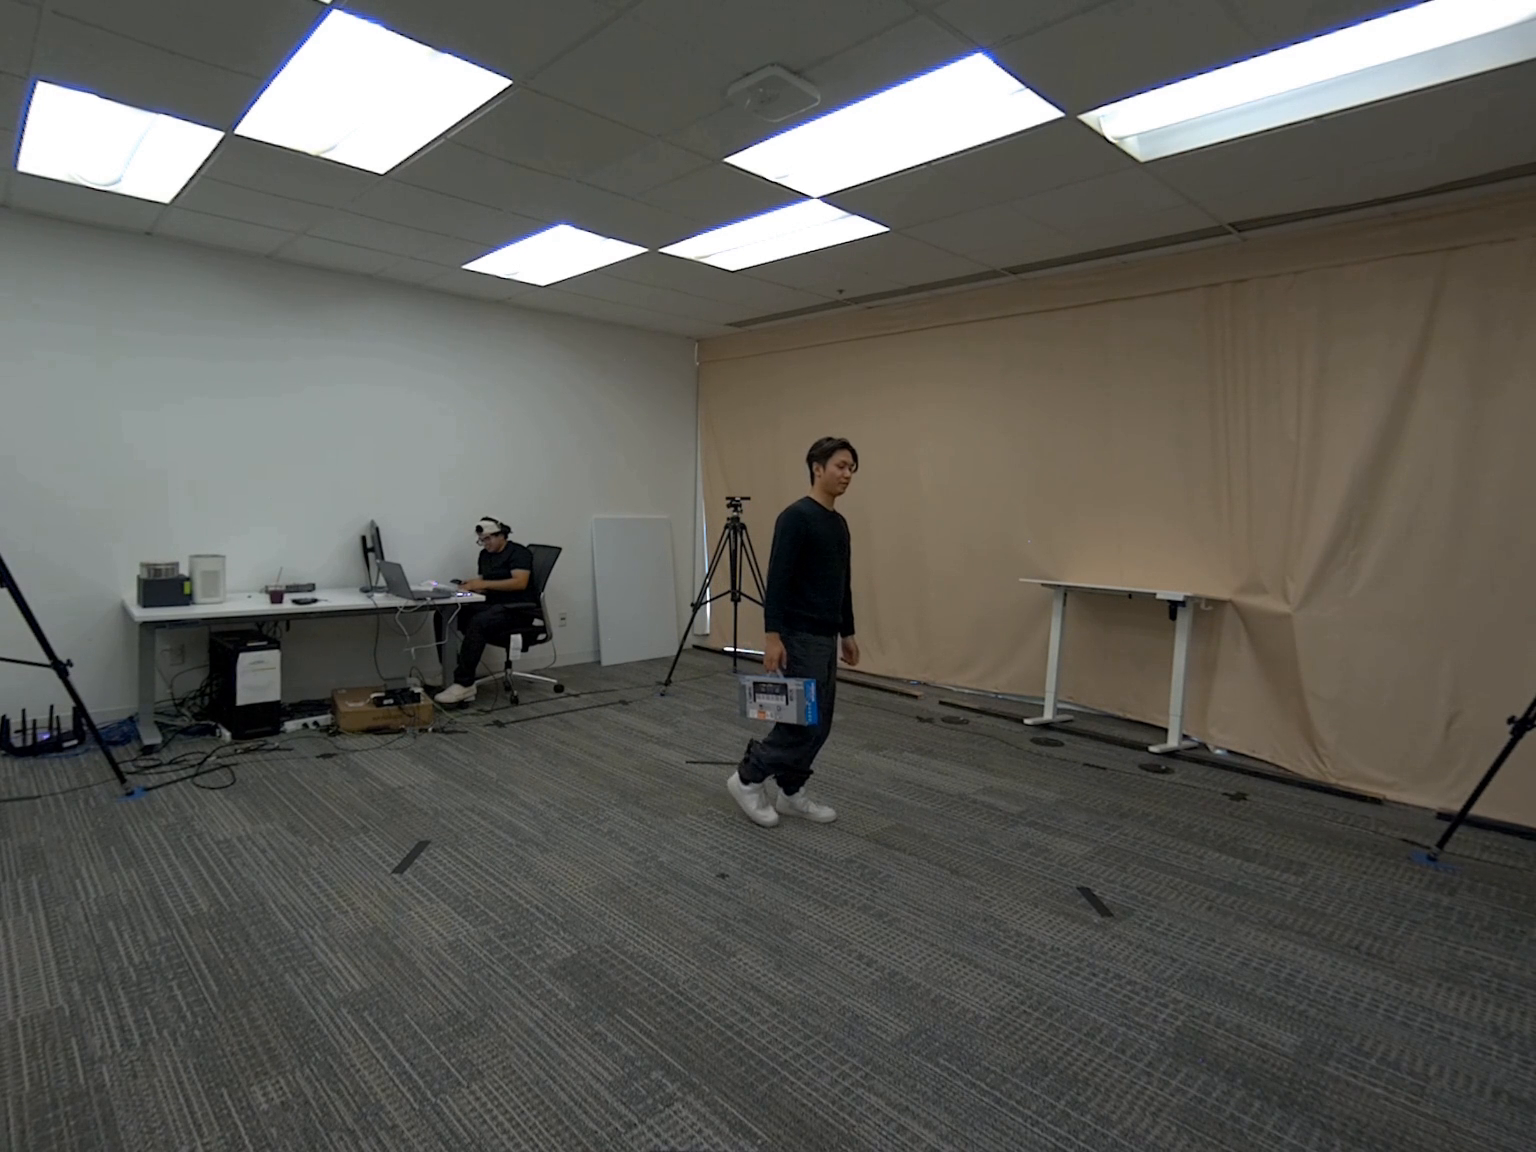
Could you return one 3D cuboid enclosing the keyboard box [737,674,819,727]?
[{"bbox_3d":[0.021,0.500,3.407,0.058,0.176,0.445,1,-4,-37],"label":"keyboard box"}]
